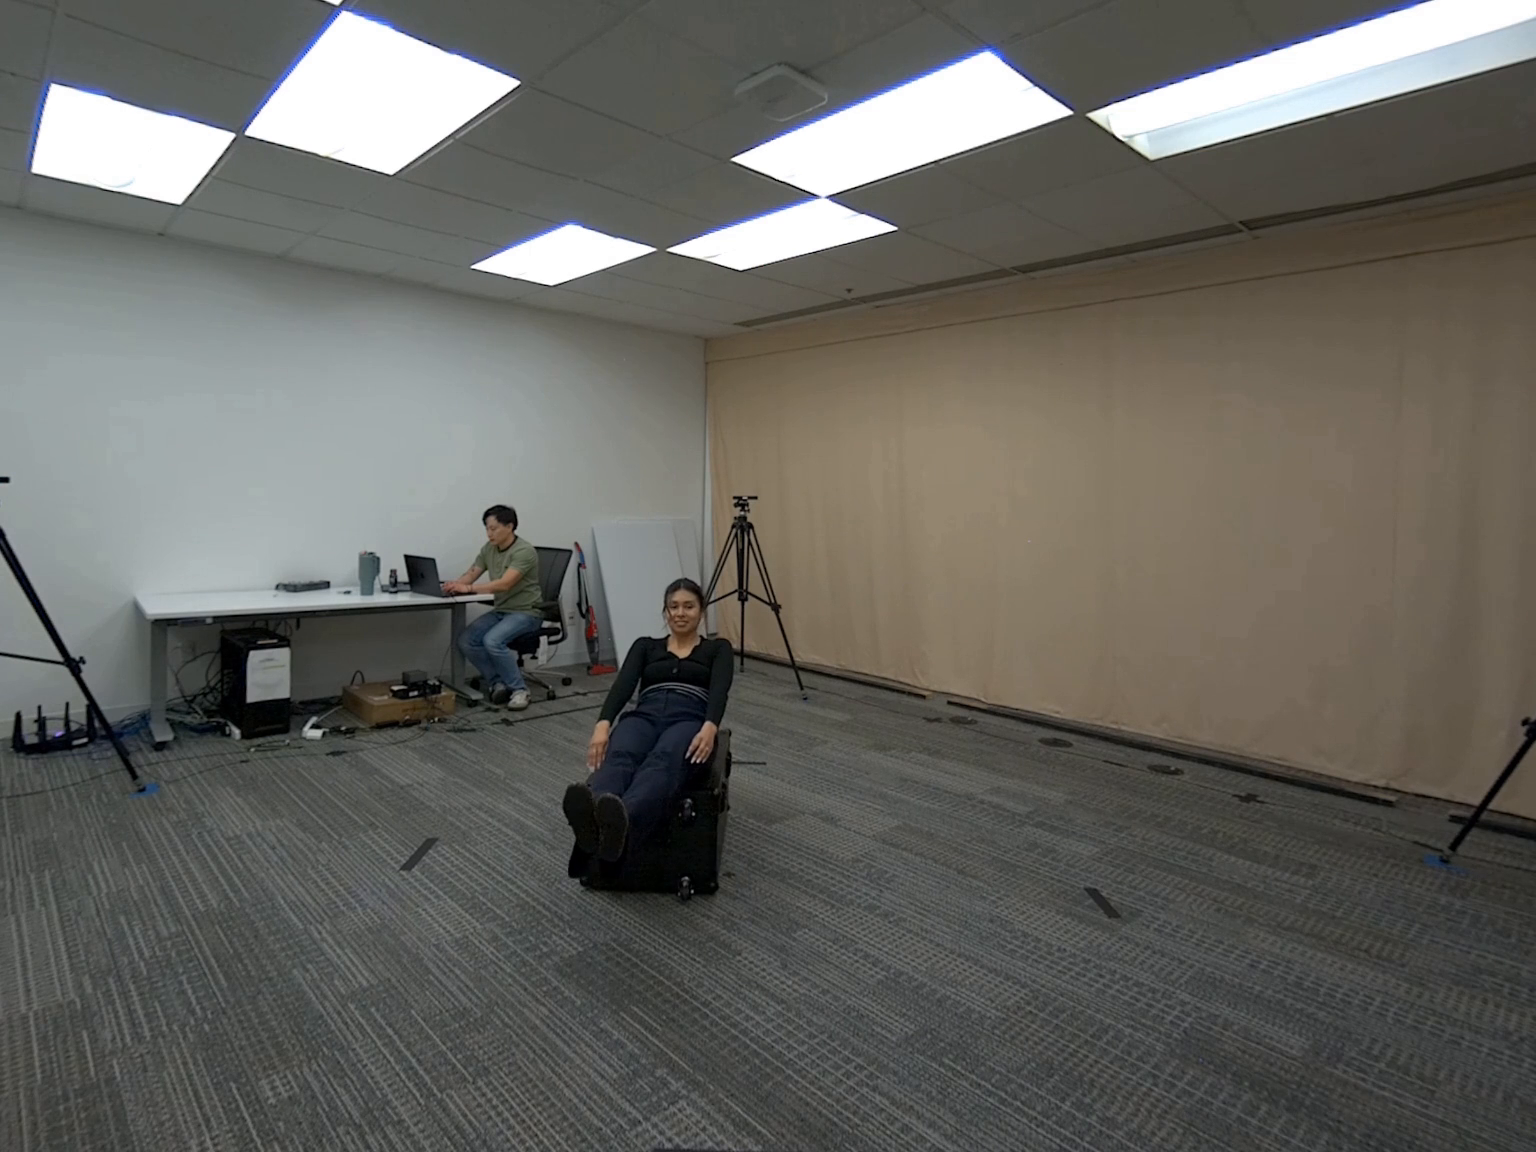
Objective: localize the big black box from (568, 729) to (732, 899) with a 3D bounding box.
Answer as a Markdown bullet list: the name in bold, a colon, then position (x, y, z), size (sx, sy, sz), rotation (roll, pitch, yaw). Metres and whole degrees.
- **big black box**: position (-0.418, 0.882, 3.275), size (0.522, 0.395, 0.863), rotation (1, 5, 1)
